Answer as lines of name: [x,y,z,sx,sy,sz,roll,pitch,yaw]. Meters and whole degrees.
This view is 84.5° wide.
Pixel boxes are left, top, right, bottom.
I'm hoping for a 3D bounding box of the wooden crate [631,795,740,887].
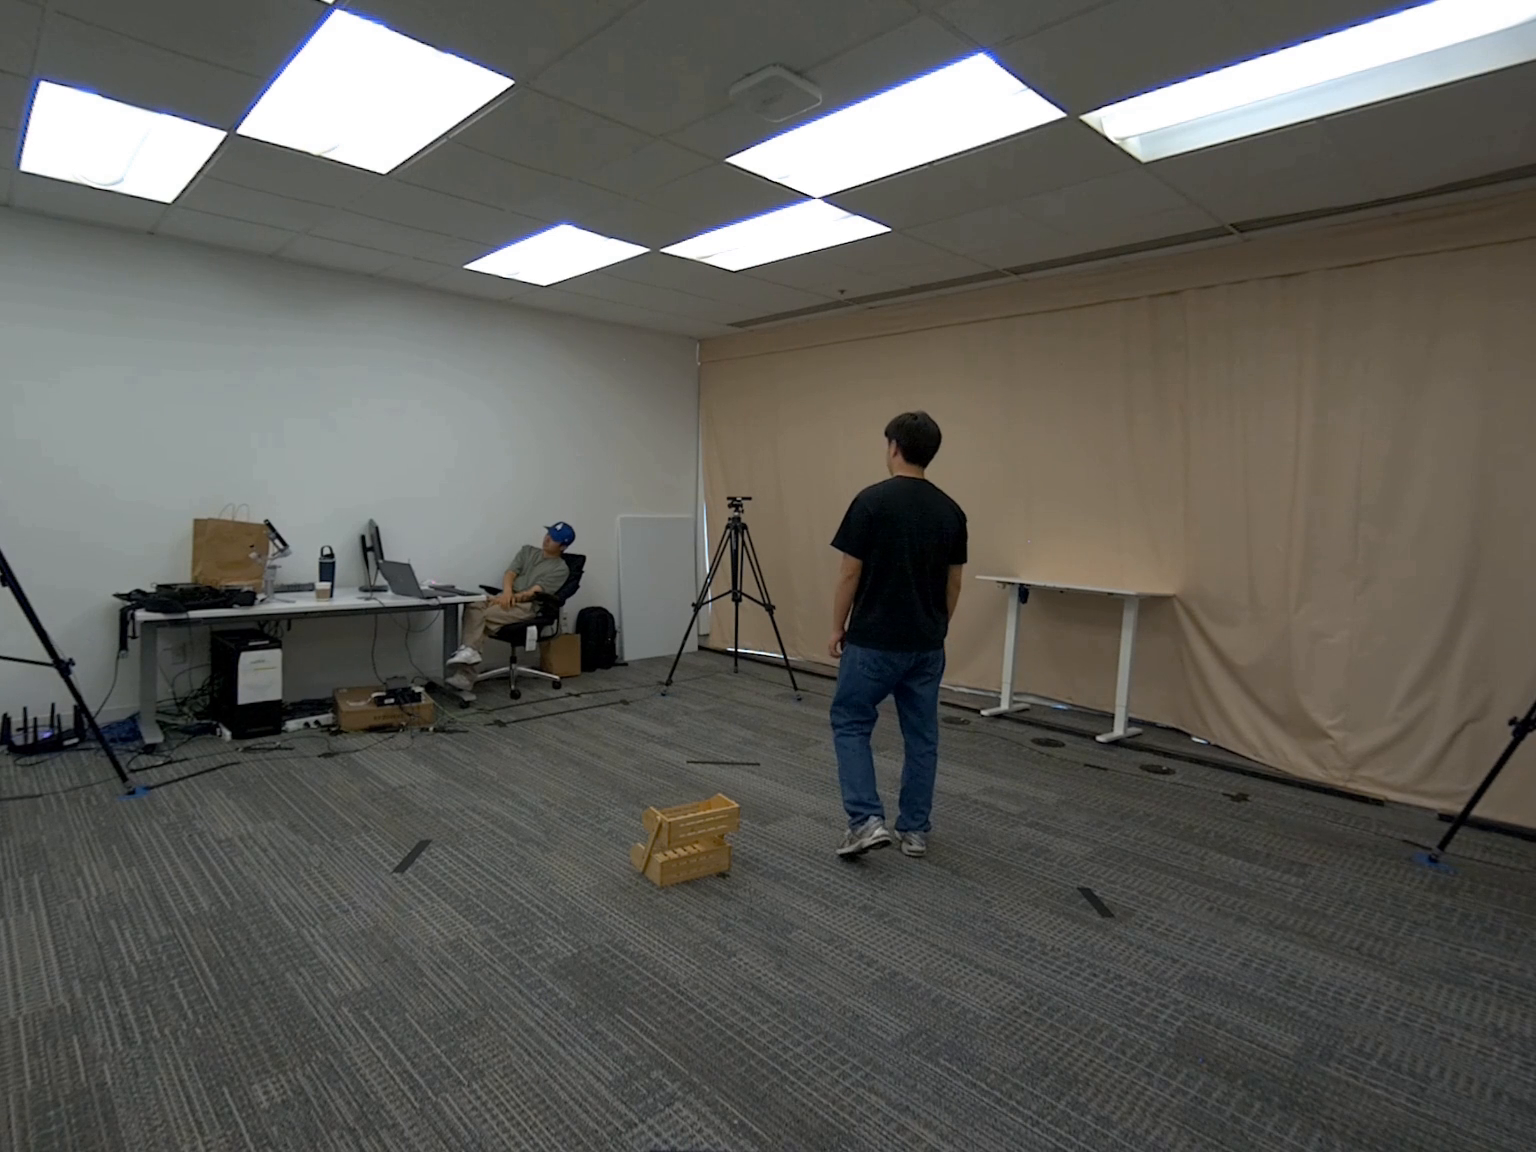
wooden crate: [-0.320,0.964,3.154,0.317,0.272,0.309,-1,6,-34]
